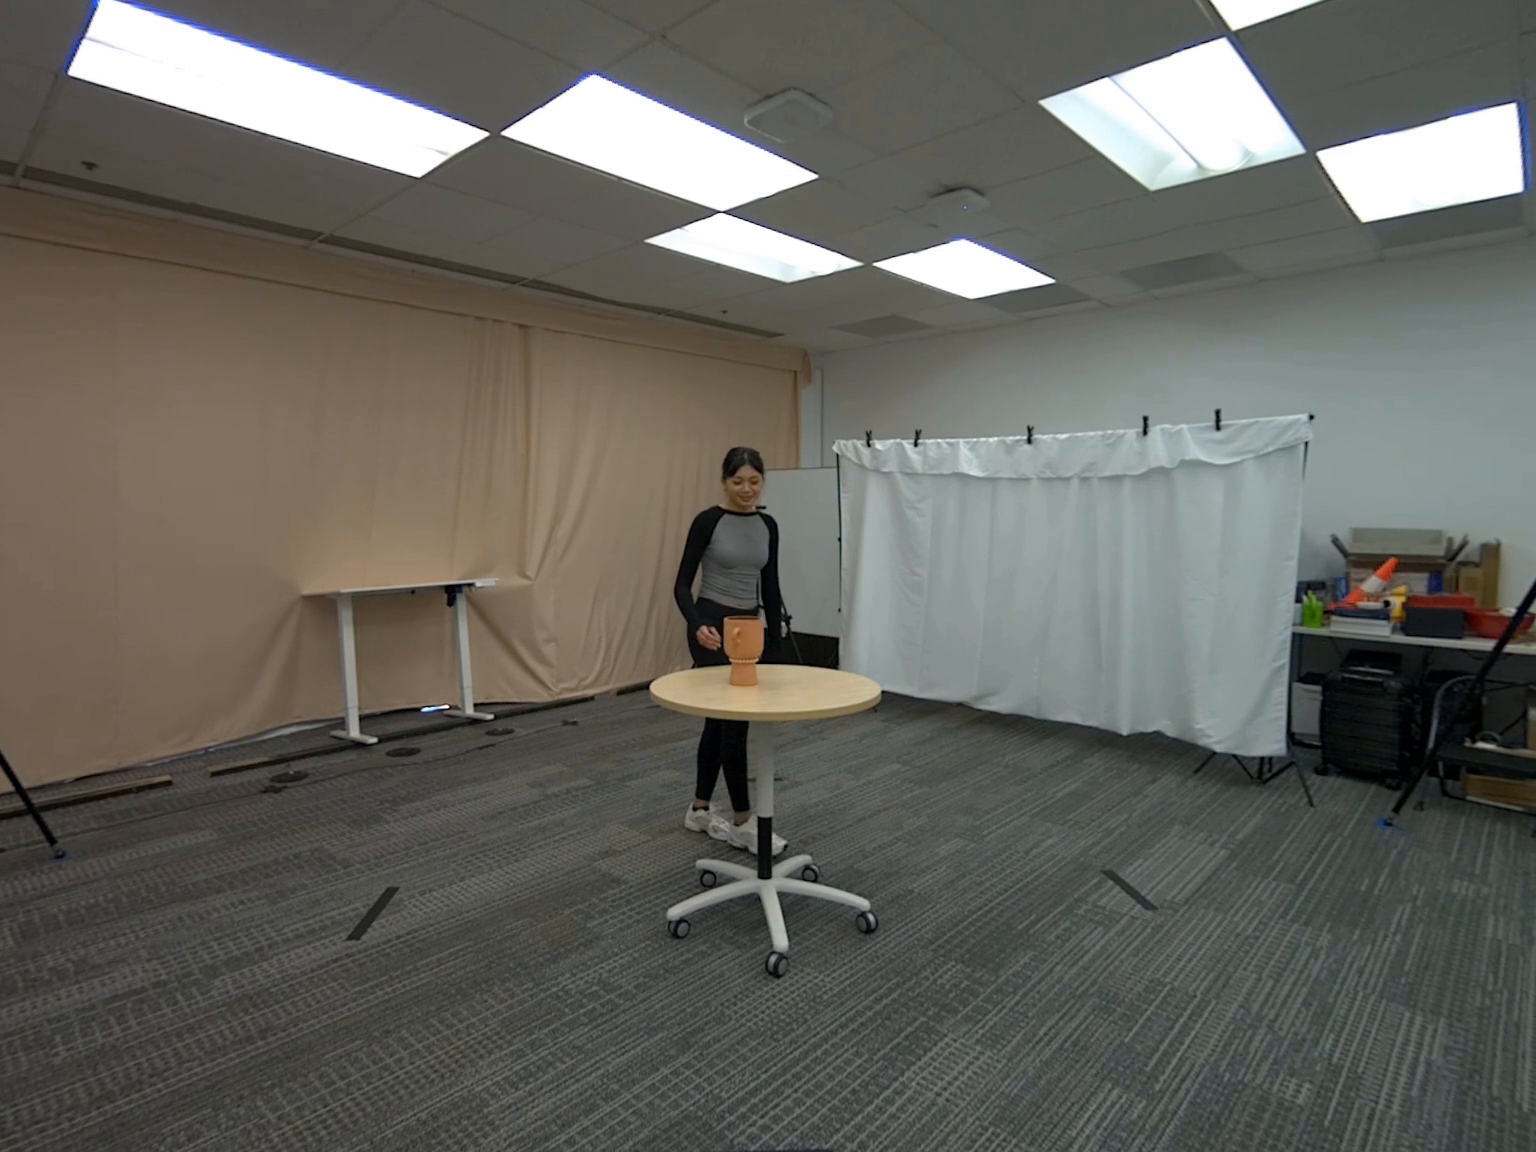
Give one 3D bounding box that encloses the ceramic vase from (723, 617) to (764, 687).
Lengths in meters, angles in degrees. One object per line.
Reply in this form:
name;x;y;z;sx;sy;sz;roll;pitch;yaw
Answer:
ceramic vase;-0.081;0.253;2.839;0.154;0.219;0.139;-3;4;-32
